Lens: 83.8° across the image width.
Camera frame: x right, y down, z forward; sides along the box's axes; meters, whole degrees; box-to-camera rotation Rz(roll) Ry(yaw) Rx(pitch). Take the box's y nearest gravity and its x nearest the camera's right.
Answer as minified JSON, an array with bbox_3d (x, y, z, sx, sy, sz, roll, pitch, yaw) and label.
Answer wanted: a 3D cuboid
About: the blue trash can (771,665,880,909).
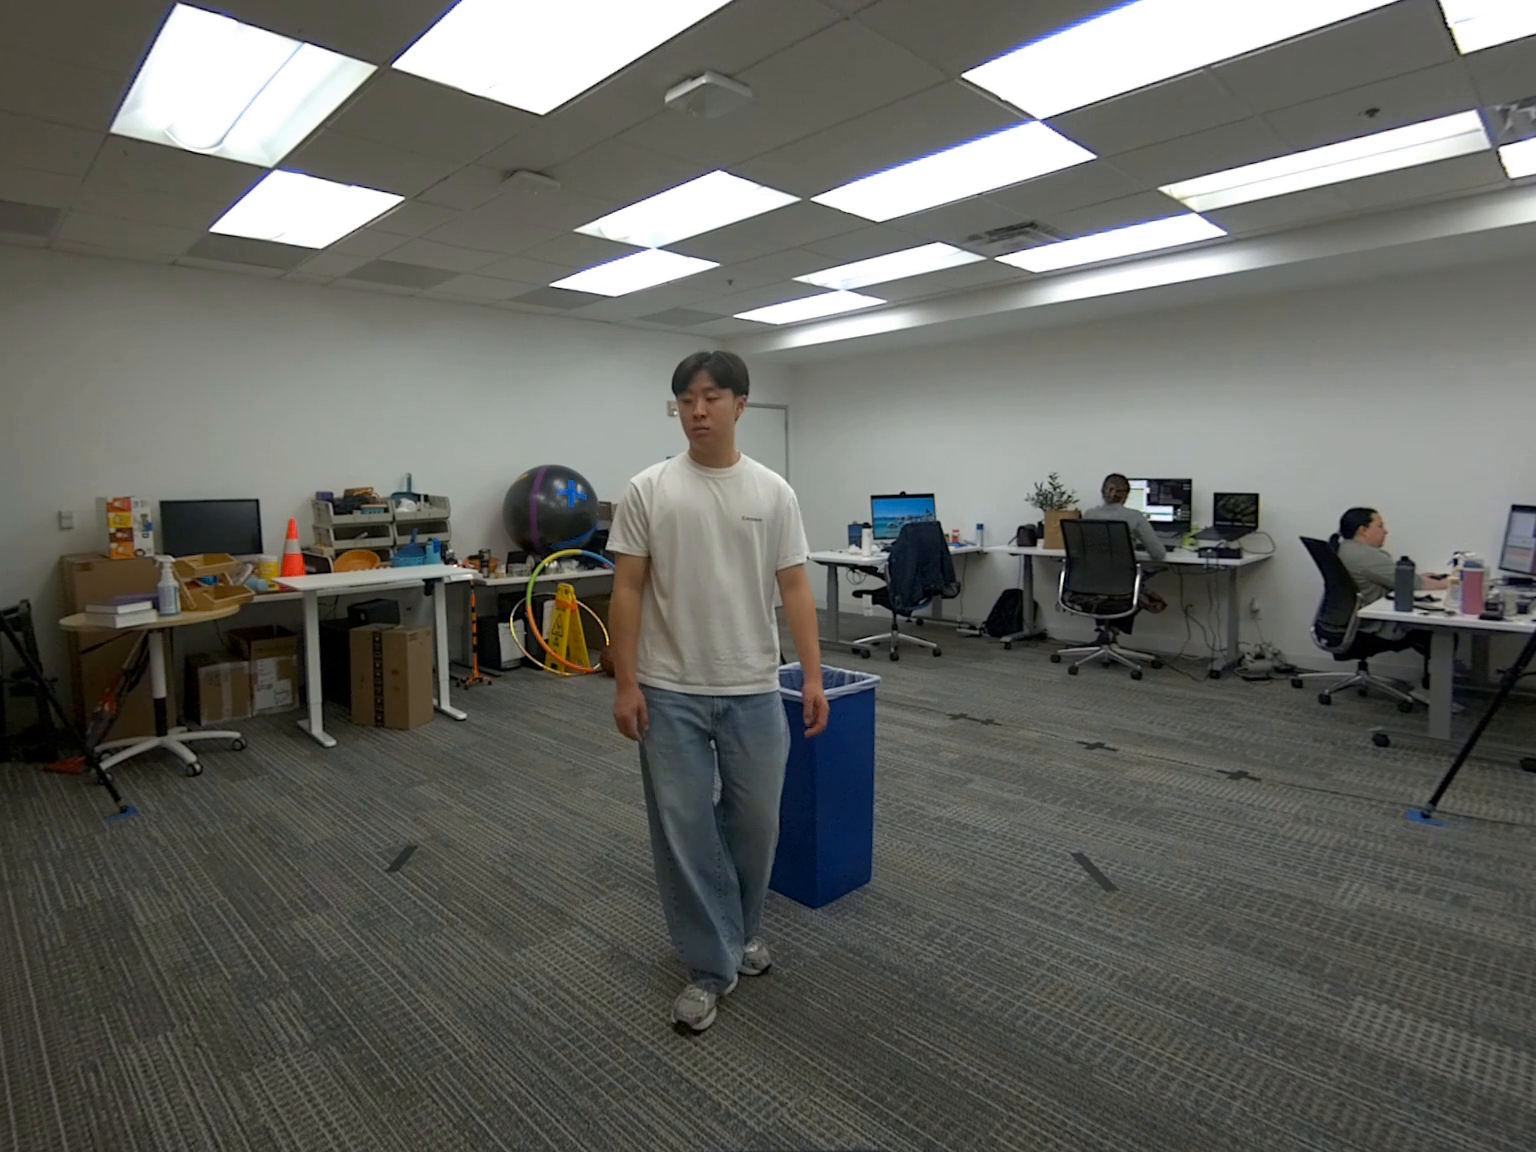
[{"bbox_3d":[0.146,0.703,2.943,0.364,0.711,0.389,-5,5,-44],"label":"blue trash can"}]
